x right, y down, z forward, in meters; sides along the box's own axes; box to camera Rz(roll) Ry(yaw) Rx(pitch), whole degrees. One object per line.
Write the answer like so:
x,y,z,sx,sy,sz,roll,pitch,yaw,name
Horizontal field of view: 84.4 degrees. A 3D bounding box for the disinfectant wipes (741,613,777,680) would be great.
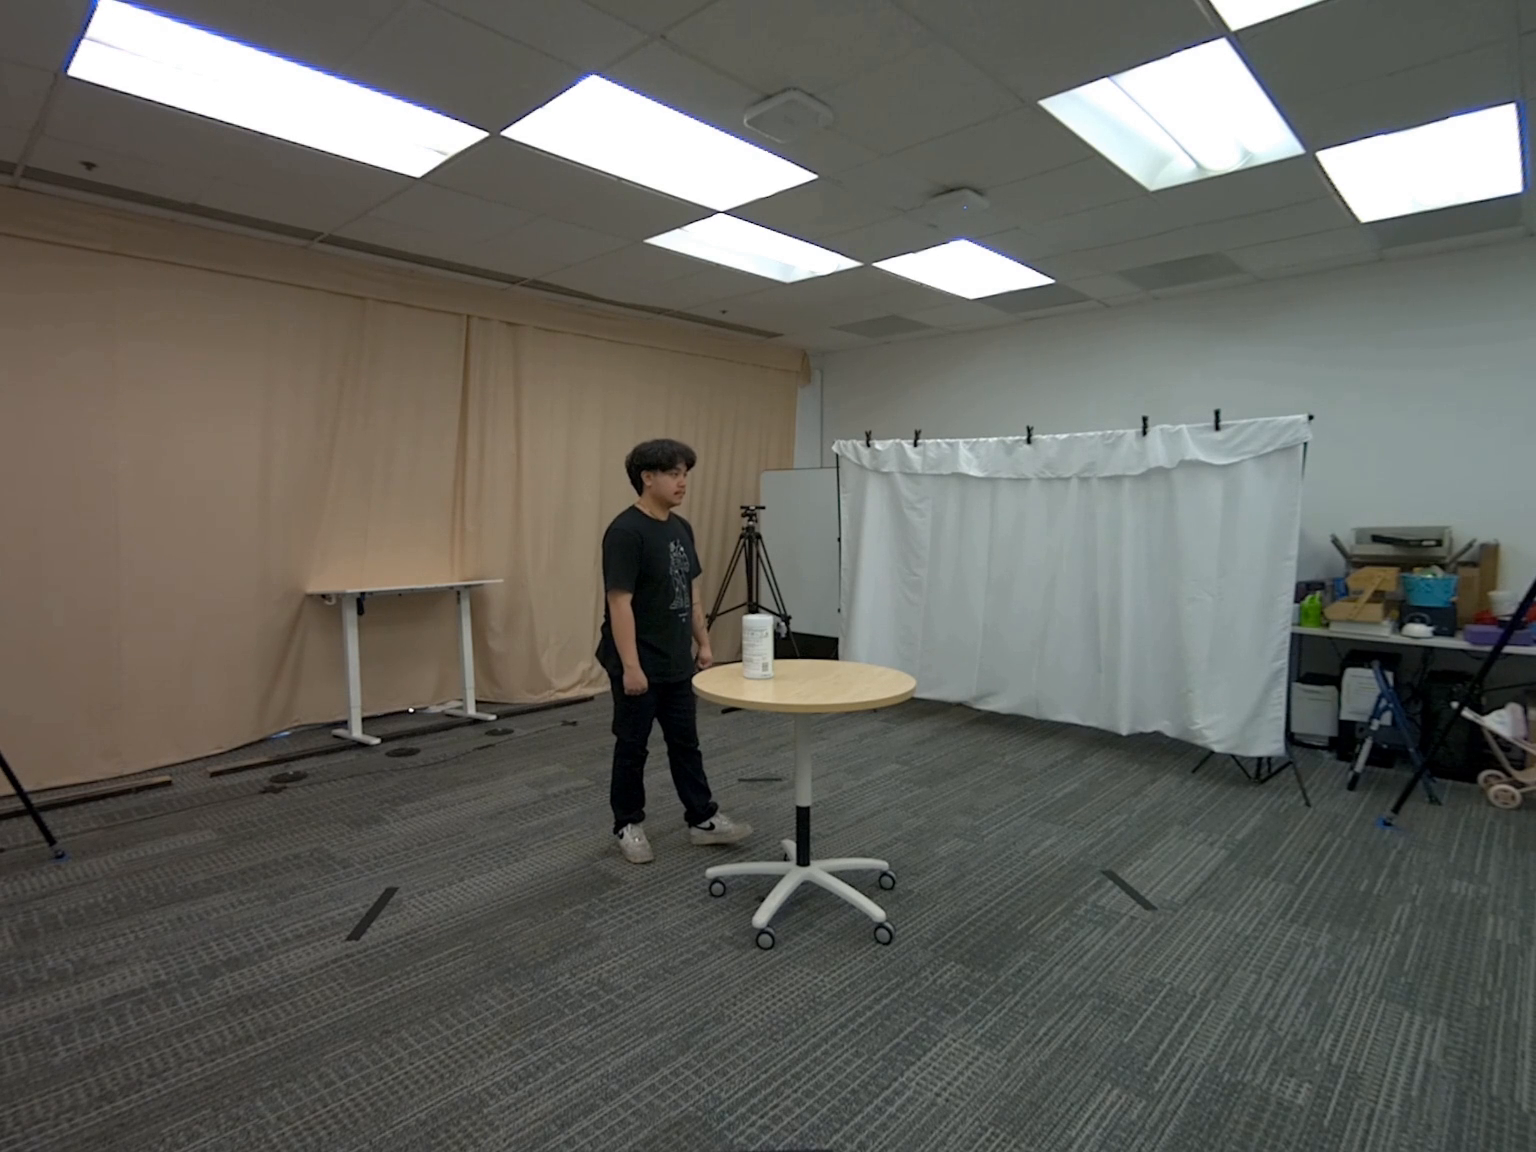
-0.029,0.248,2.950,0.118,0.217,0.118,-1,1,-2,disinfectant wipes
